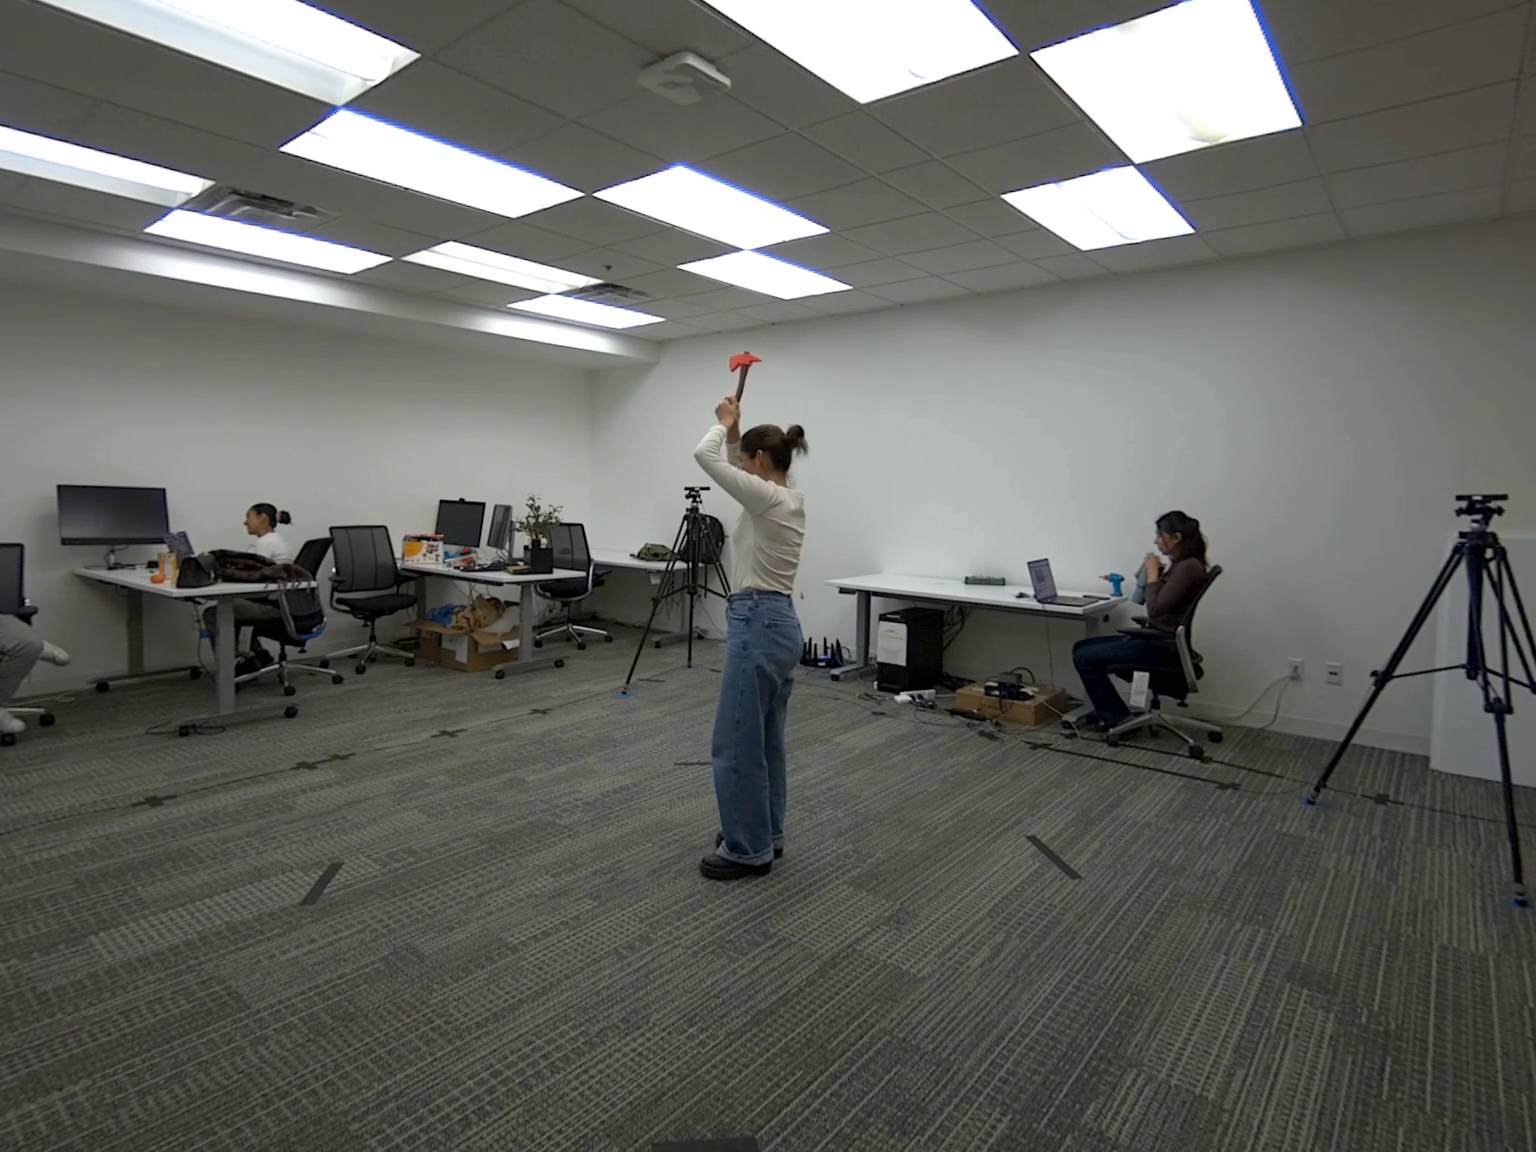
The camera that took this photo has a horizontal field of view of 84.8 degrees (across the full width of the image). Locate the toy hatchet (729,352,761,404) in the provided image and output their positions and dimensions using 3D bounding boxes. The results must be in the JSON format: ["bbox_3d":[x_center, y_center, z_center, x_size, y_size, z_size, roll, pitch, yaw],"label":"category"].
[{"bbox_3d":[-0.143,-0.737,3.232,0.135,0.270,0.029,29,3,24],"label":"toy hatchet"}]
